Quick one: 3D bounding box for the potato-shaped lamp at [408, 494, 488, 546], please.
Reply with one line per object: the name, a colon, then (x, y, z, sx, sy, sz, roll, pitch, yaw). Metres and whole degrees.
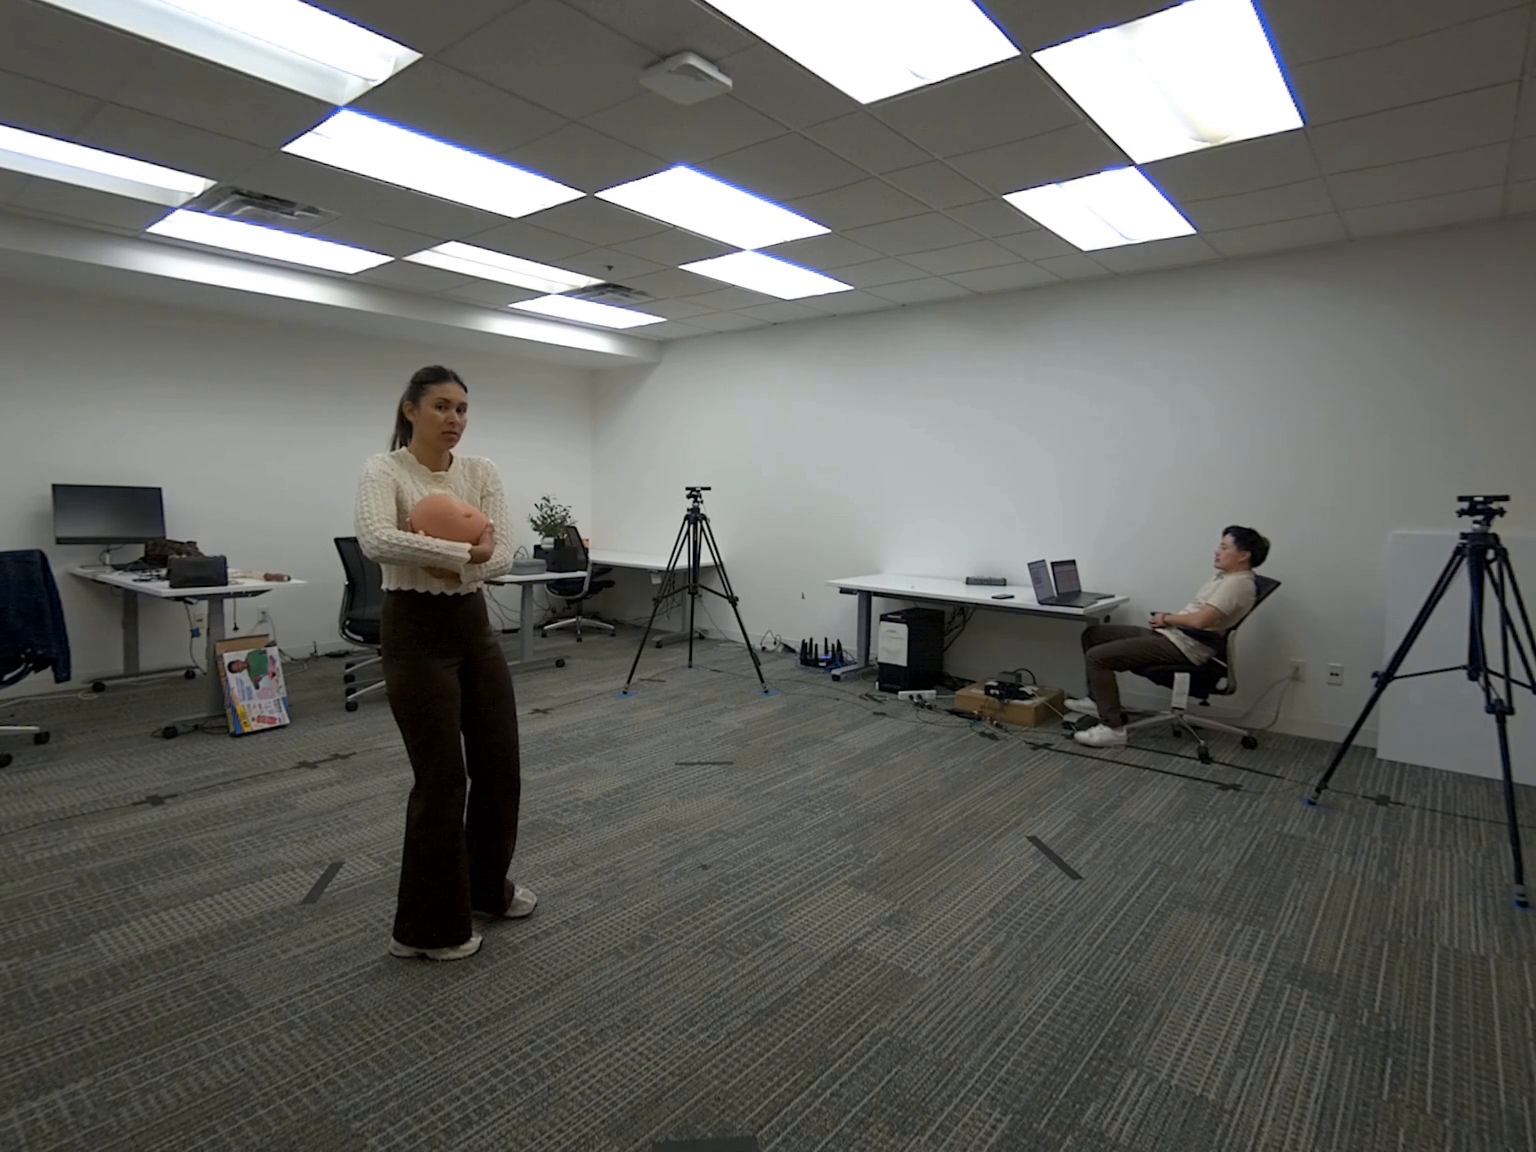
potato-shaped lamp: (-0.874, -0.130, 2.277, 0.170, 0.172, 0.191, 2, -39, 48)
